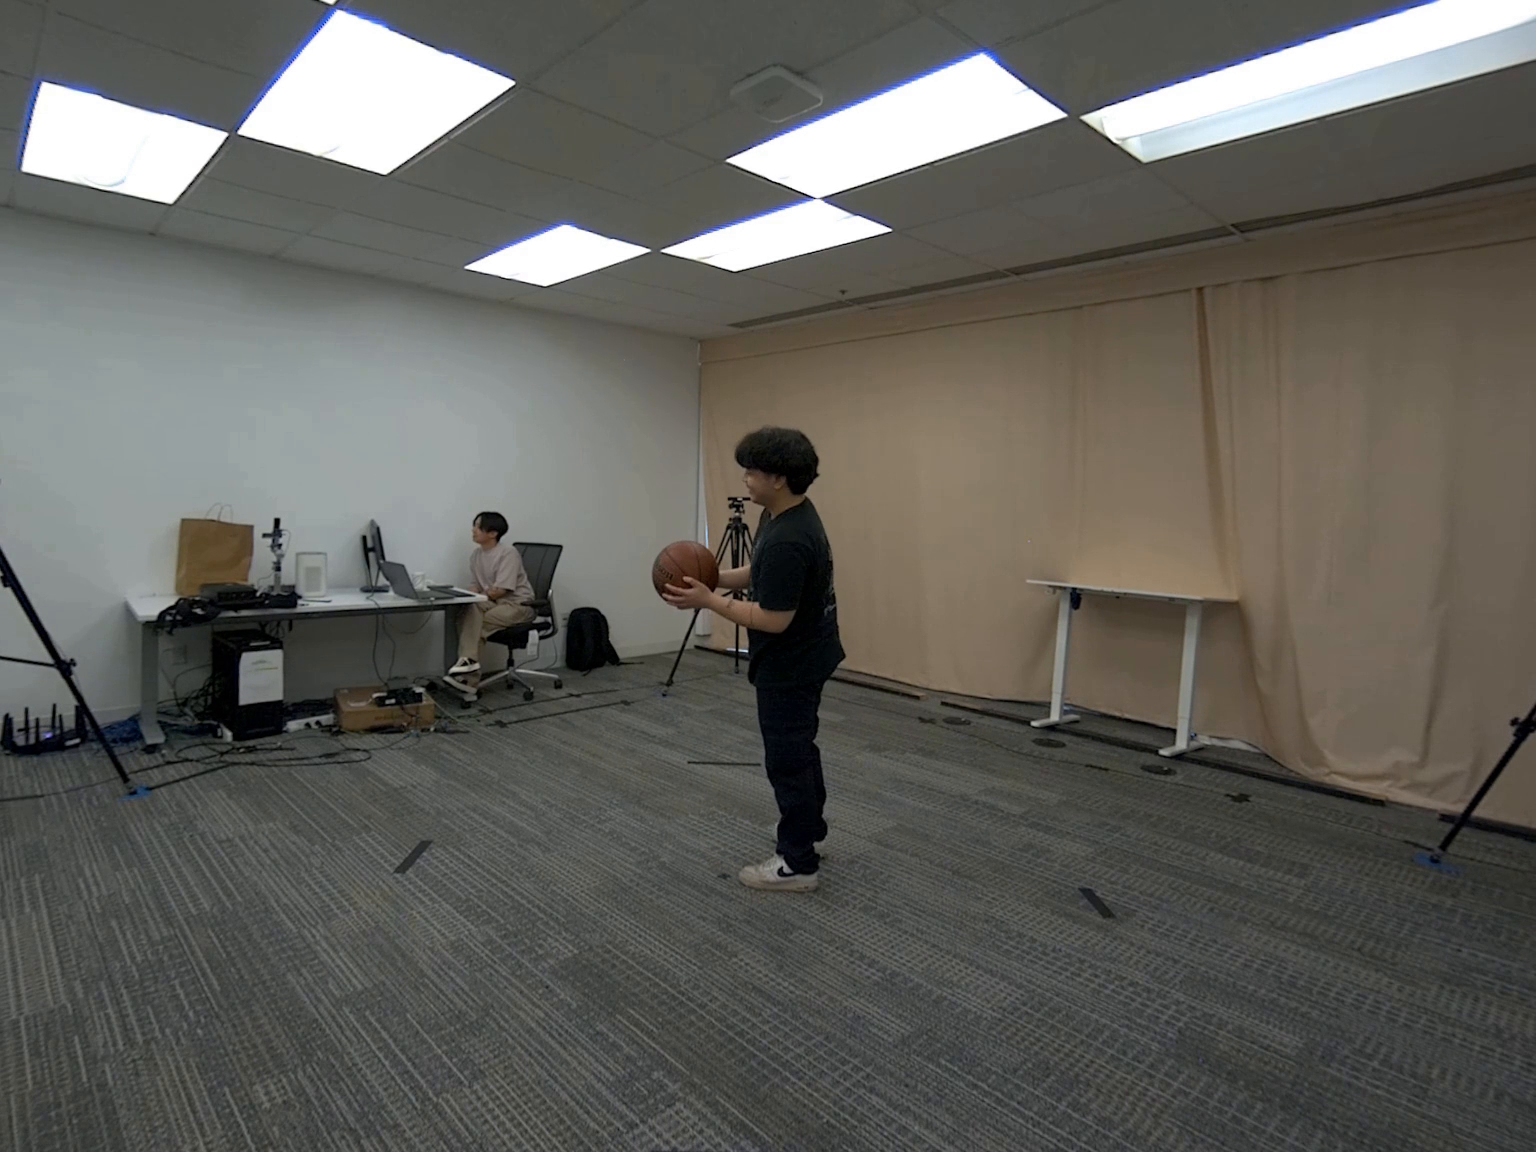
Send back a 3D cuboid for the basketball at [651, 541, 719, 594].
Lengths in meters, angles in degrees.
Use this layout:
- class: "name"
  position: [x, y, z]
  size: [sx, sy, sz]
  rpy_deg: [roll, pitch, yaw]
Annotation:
- class: "basketball"
  position: [-0.295, -0.008, 2.998]
  size: [0.236, 0.235, 0.237]
  rpy_deg: [1, 4, -1]
